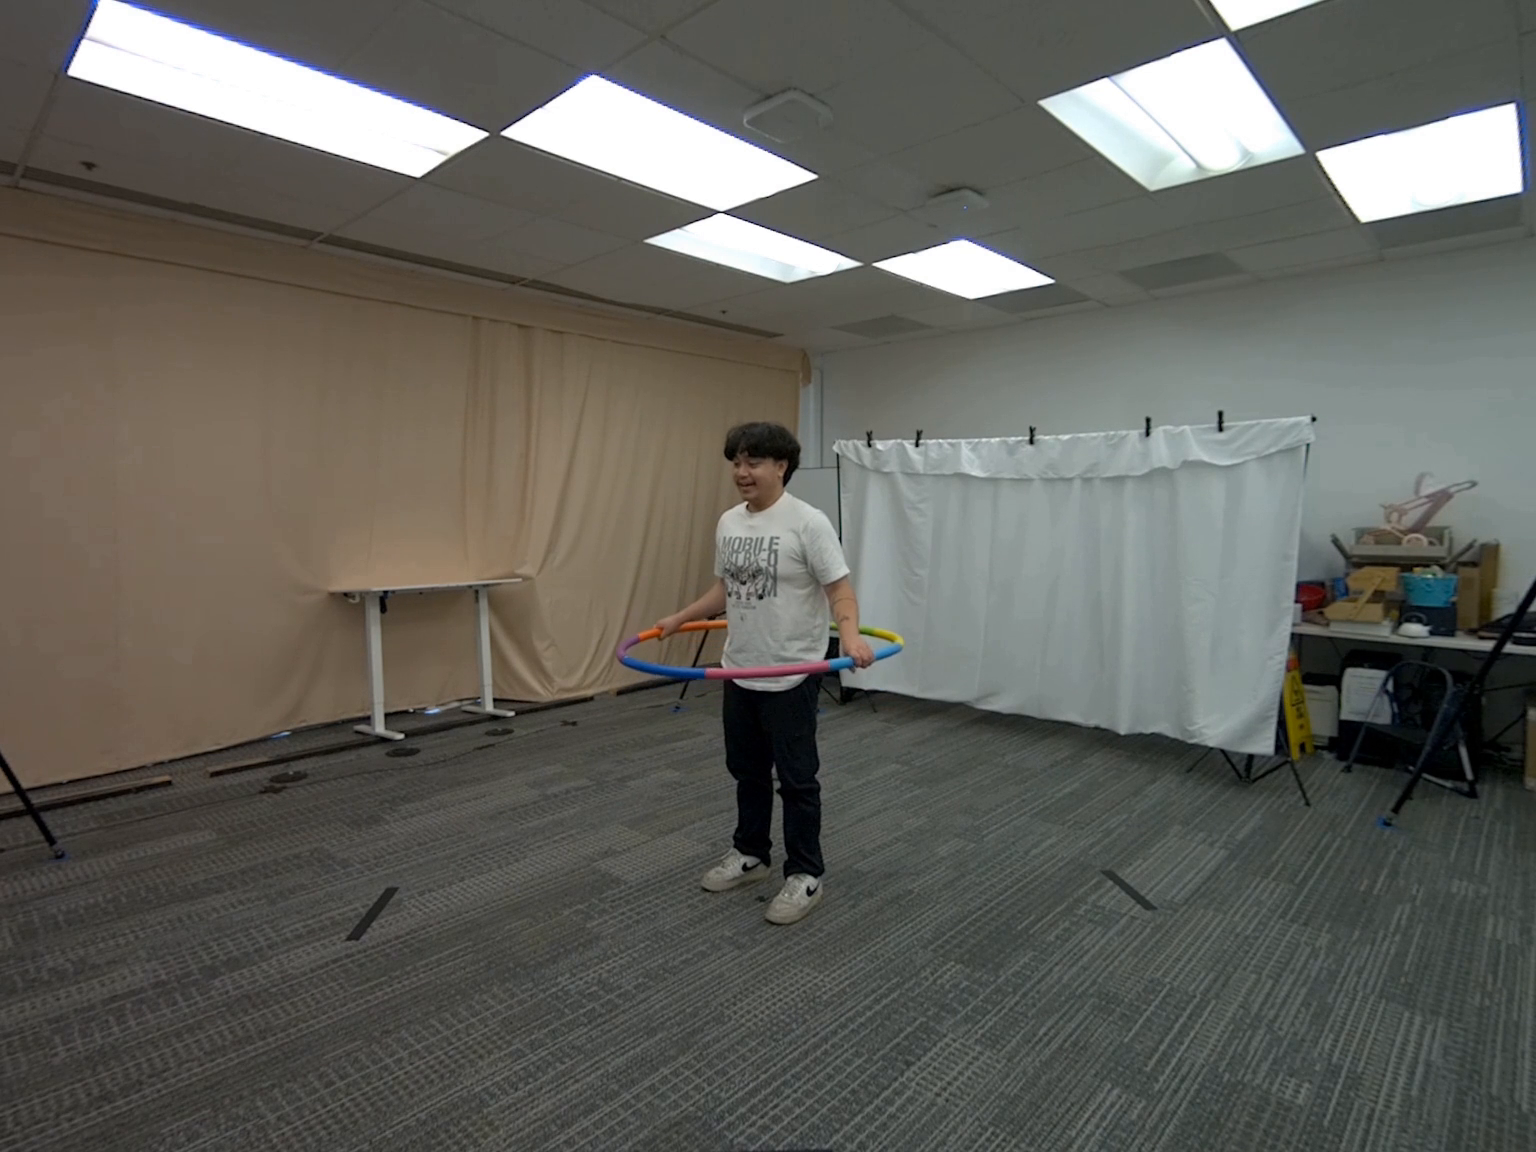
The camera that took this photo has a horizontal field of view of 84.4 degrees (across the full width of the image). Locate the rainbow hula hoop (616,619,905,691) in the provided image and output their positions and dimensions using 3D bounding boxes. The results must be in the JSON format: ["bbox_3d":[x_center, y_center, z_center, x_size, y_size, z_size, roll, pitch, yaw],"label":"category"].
[{"bbox_3d":[-0.032,0.229,2.917,0.985,0.051,0.990,-2,6,-2],"label":"rainbow hula hoop"}]
